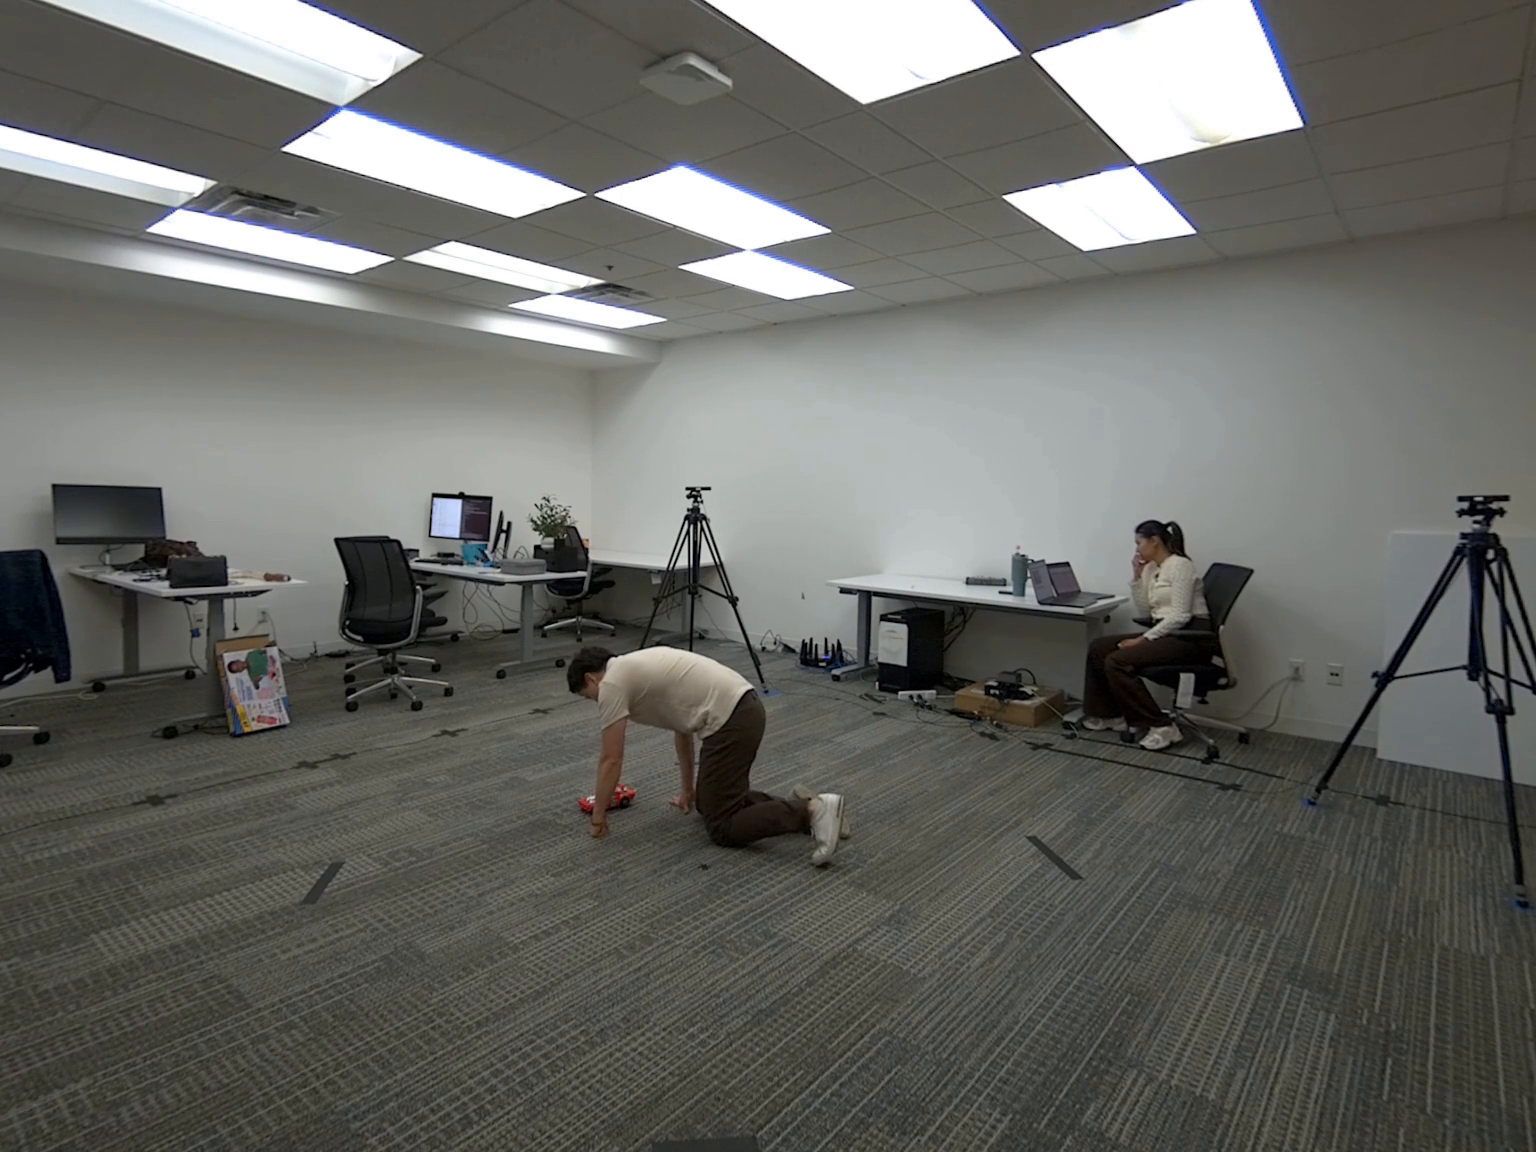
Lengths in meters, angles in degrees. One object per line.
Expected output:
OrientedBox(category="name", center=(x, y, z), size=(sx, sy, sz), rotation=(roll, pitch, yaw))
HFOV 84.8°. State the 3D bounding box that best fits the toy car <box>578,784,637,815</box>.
OrientedBox(category="toy car", center=(-0.707, 0.969, 3.704), size=(0.249, 0.082, 0.134), rotation=(-18, 14, -36))
